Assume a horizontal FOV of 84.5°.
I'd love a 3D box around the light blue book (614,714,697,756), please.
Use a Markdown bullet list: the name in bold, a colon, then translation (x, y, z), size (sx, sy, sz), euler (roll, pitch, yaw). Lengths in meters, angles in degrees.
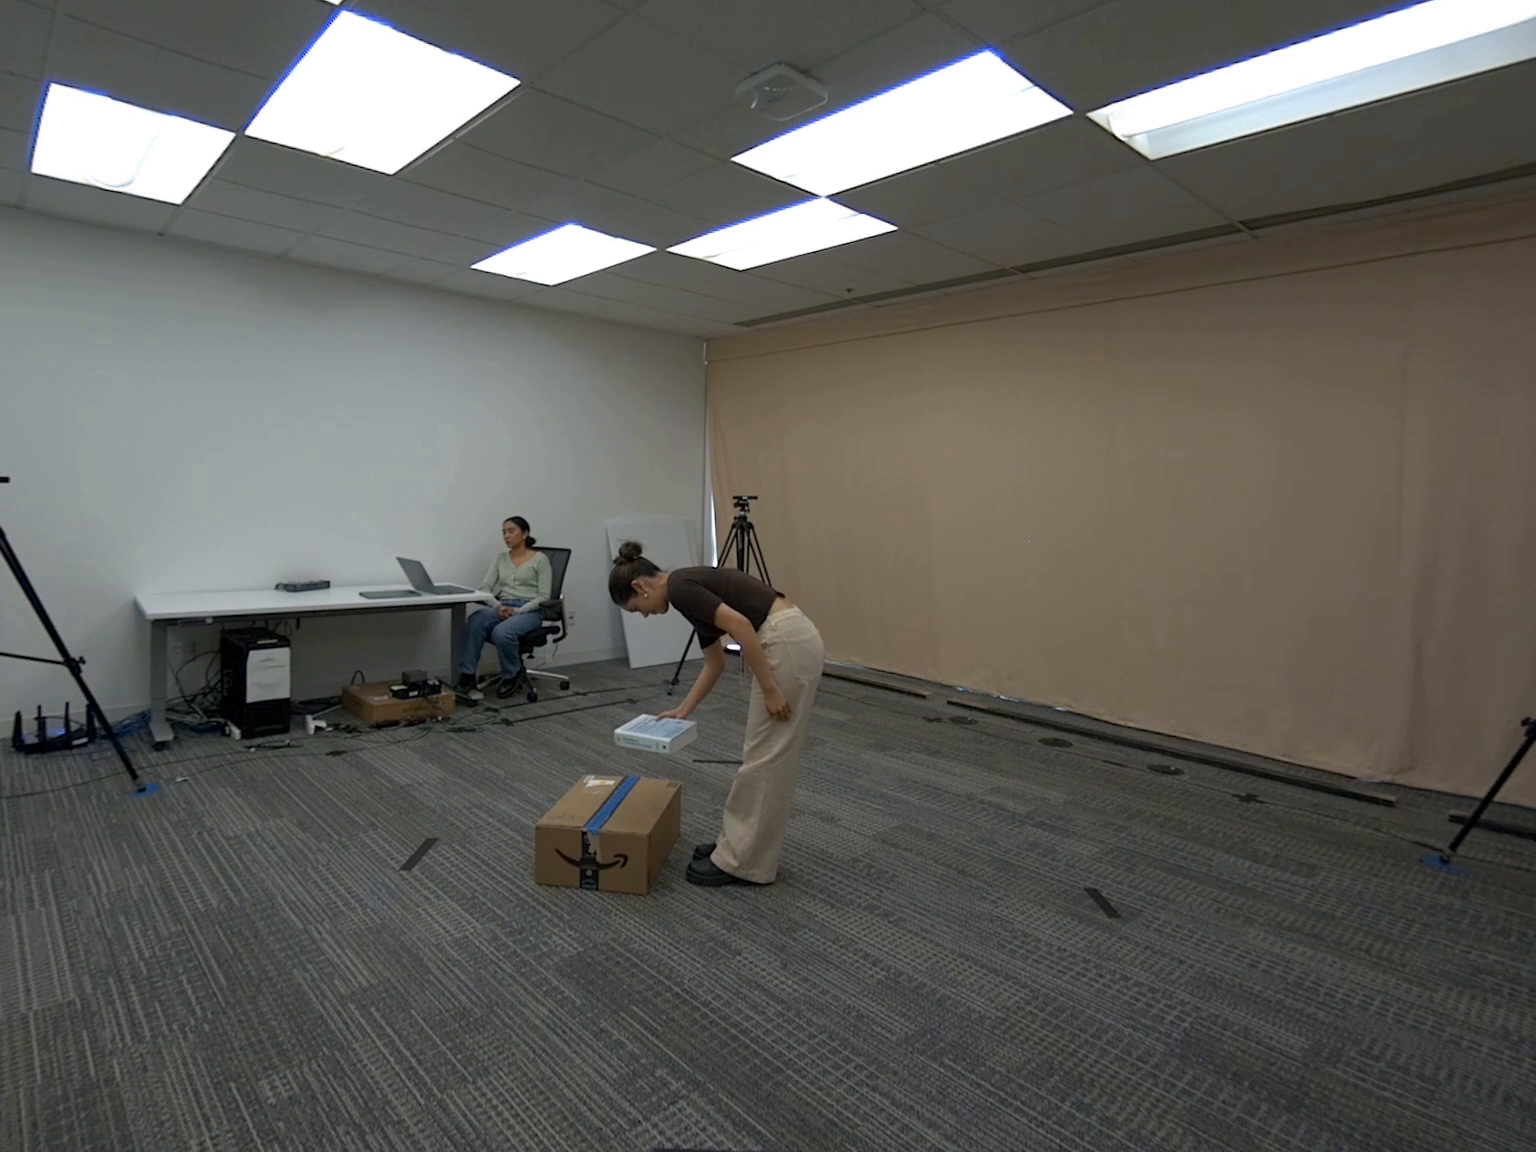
- **light blue book**: translation (-0.429, 0.600, 3.203), size (0.266, 0.058, 0.189), euler (2, 13, 30)
